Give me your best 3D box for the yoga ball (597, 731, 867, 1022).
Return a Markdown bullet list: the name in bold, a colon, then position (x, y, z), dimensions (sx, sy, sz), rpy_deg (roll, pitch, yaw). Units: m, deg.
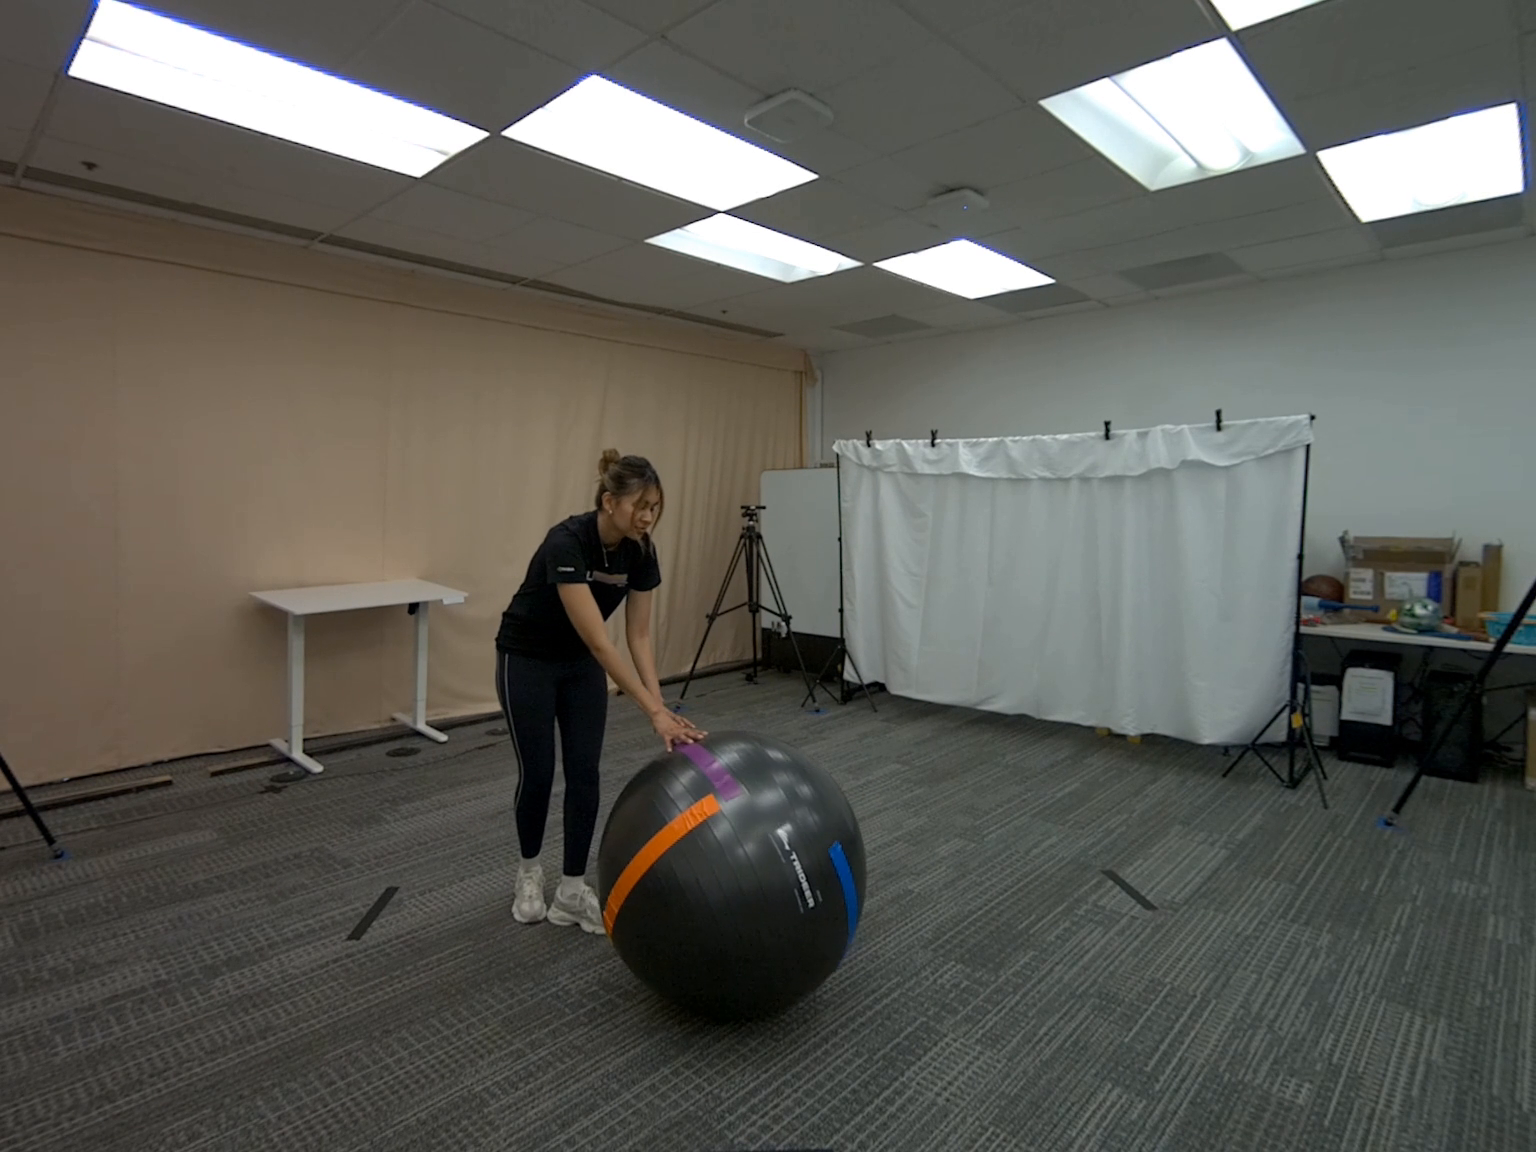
- **yoga ball**: position (-0.104, 0.832, 2.385), dimensions (0.757, 0.756, 0.760), rpy_deg (0, 4, -2)
